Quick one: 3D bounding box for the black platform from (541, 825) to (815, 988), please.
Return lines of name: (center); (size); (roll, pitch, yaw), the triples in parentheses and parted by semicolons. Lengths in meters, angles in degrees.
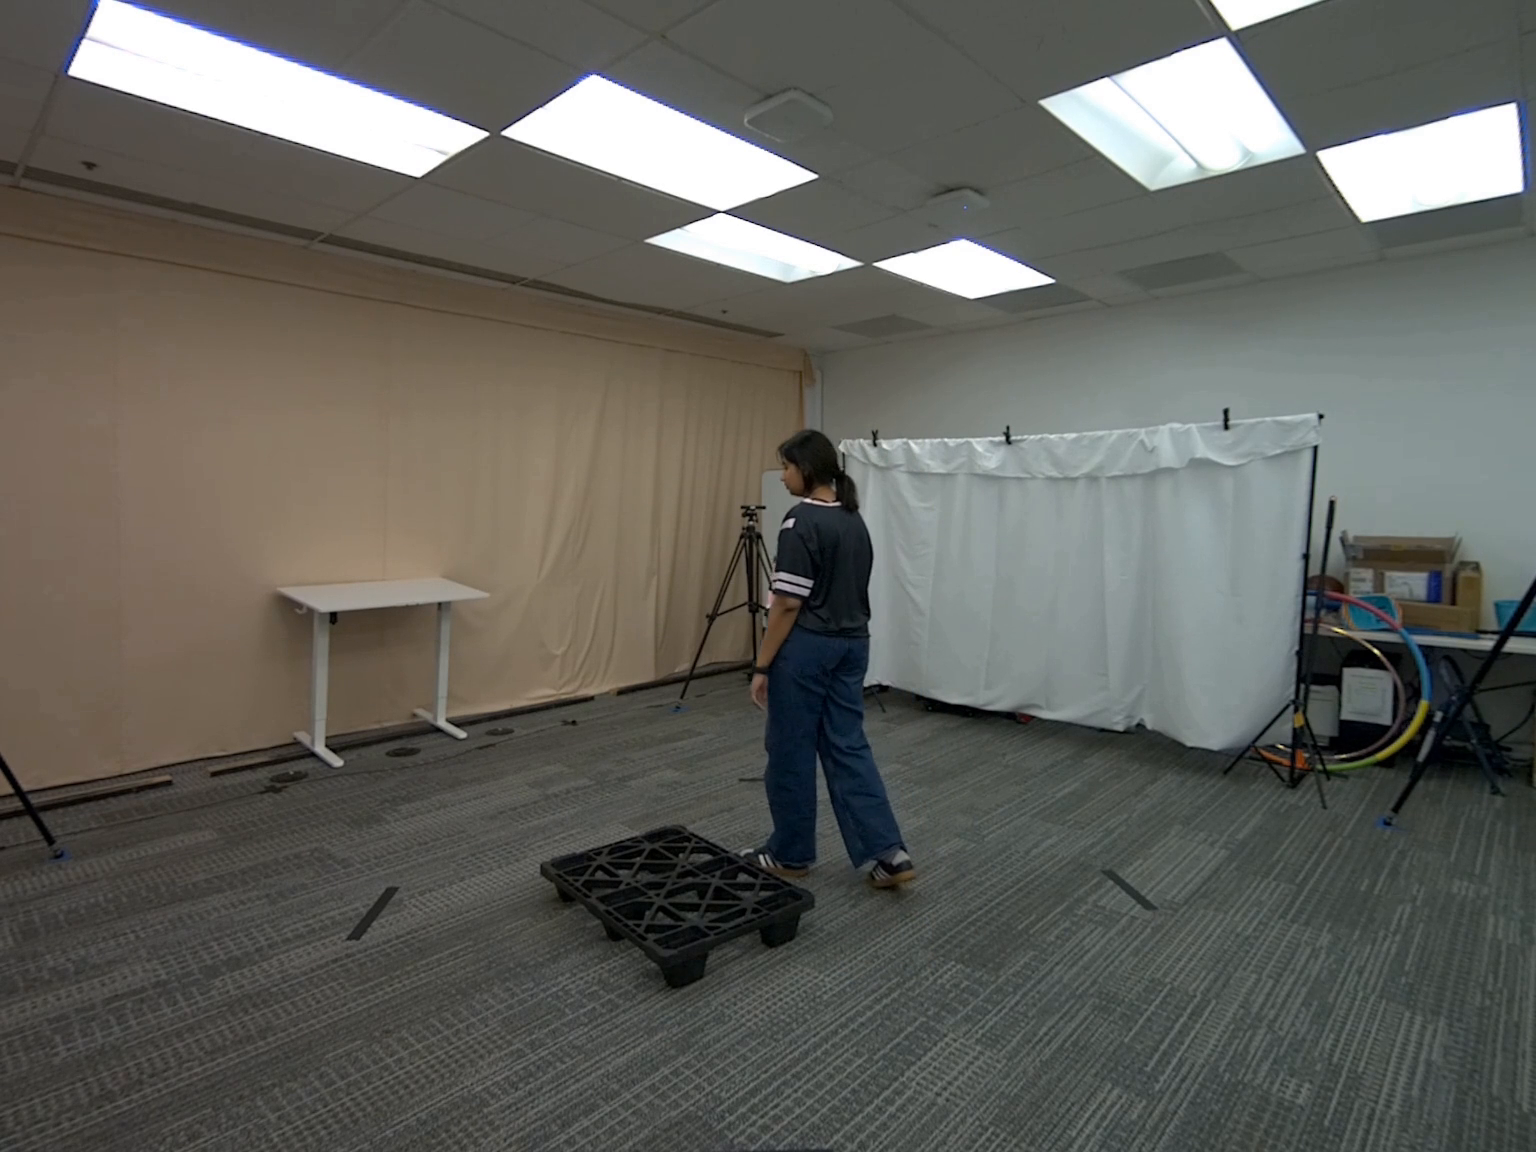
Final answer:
black platform: (-0.328, 1.093, 2.843); (0.587, 0.143, 0.832); (-5, 6, -39)
